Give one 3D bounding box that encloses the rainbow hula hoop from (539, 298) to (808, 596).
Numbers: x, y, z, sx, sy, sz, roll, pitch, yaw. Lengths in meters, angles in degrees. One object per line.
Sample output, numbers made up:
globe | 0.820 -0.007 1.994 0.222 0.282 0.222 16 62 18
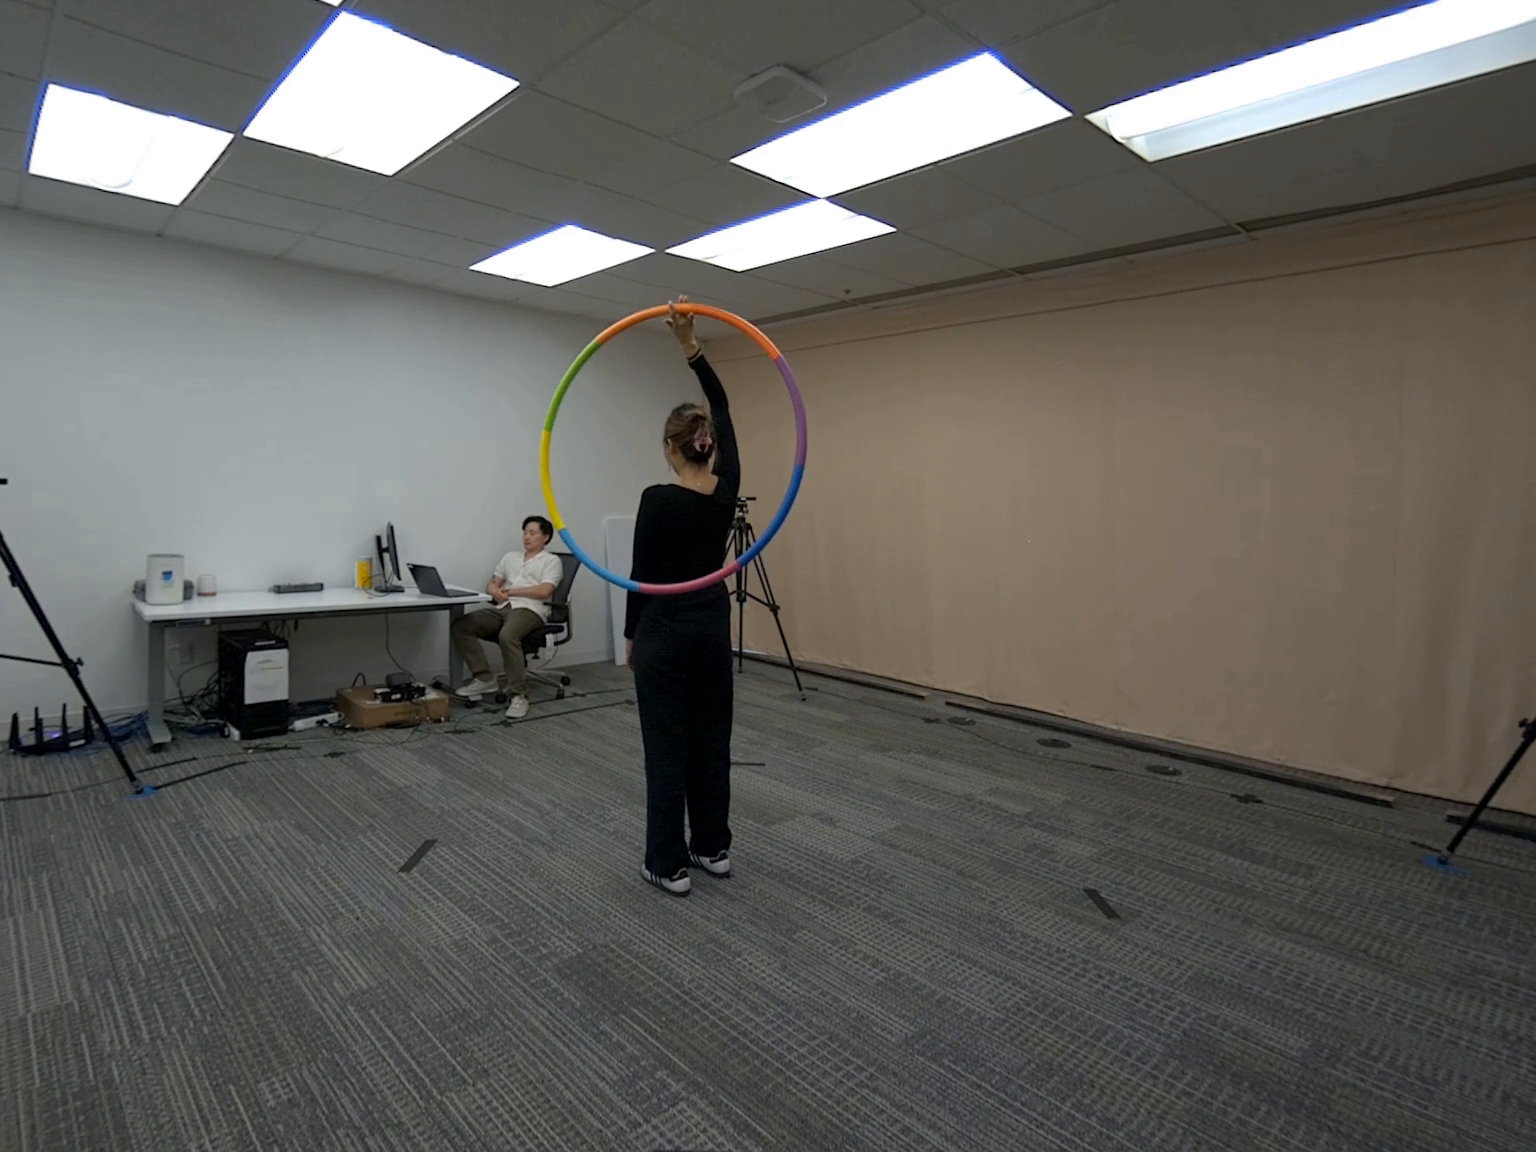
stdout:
rainbow hula hoop | -0.346 -0.435 2.841 1.001 0.988 0.050 3 -4 20
